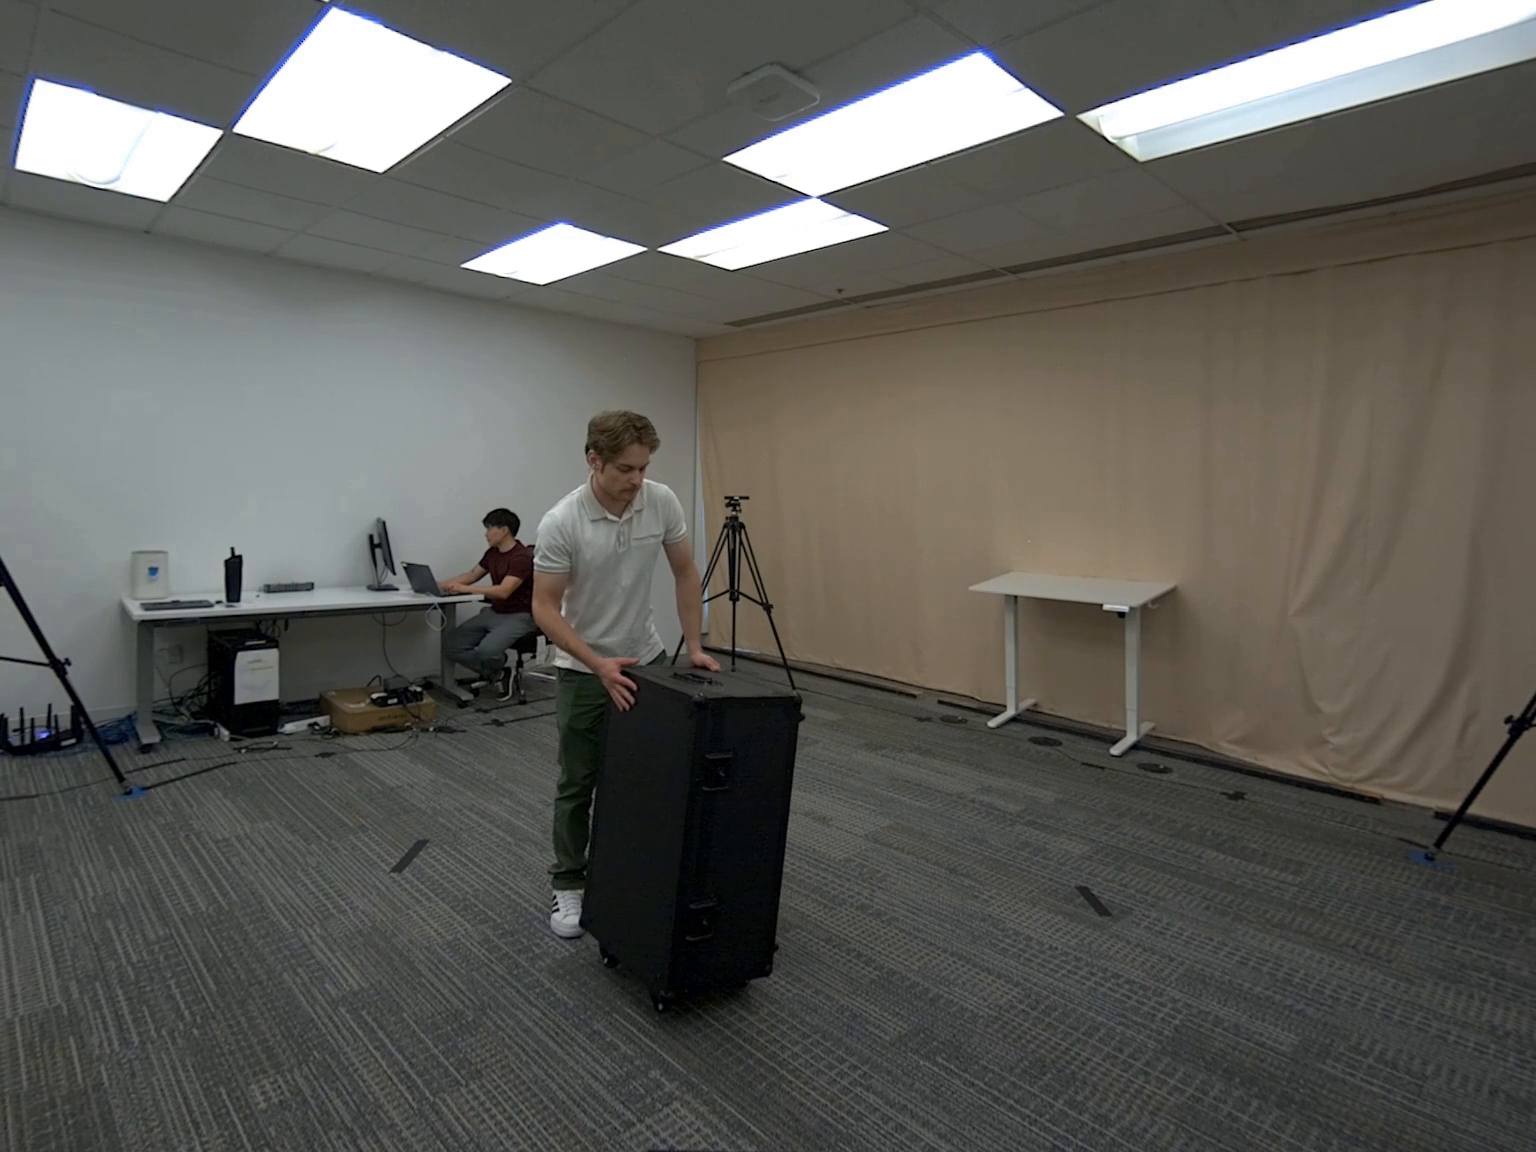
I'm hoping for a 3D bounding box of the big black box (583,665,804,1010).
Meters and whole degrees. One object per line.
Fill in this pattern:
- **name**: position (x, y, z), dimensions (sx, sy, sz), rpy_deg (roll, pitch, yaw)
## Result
- **big black box**: position (-0.239, 0.733, 2.423), dimensions (0.375, 0.869, 0.536), rpy_deg (7, -1, -39)
